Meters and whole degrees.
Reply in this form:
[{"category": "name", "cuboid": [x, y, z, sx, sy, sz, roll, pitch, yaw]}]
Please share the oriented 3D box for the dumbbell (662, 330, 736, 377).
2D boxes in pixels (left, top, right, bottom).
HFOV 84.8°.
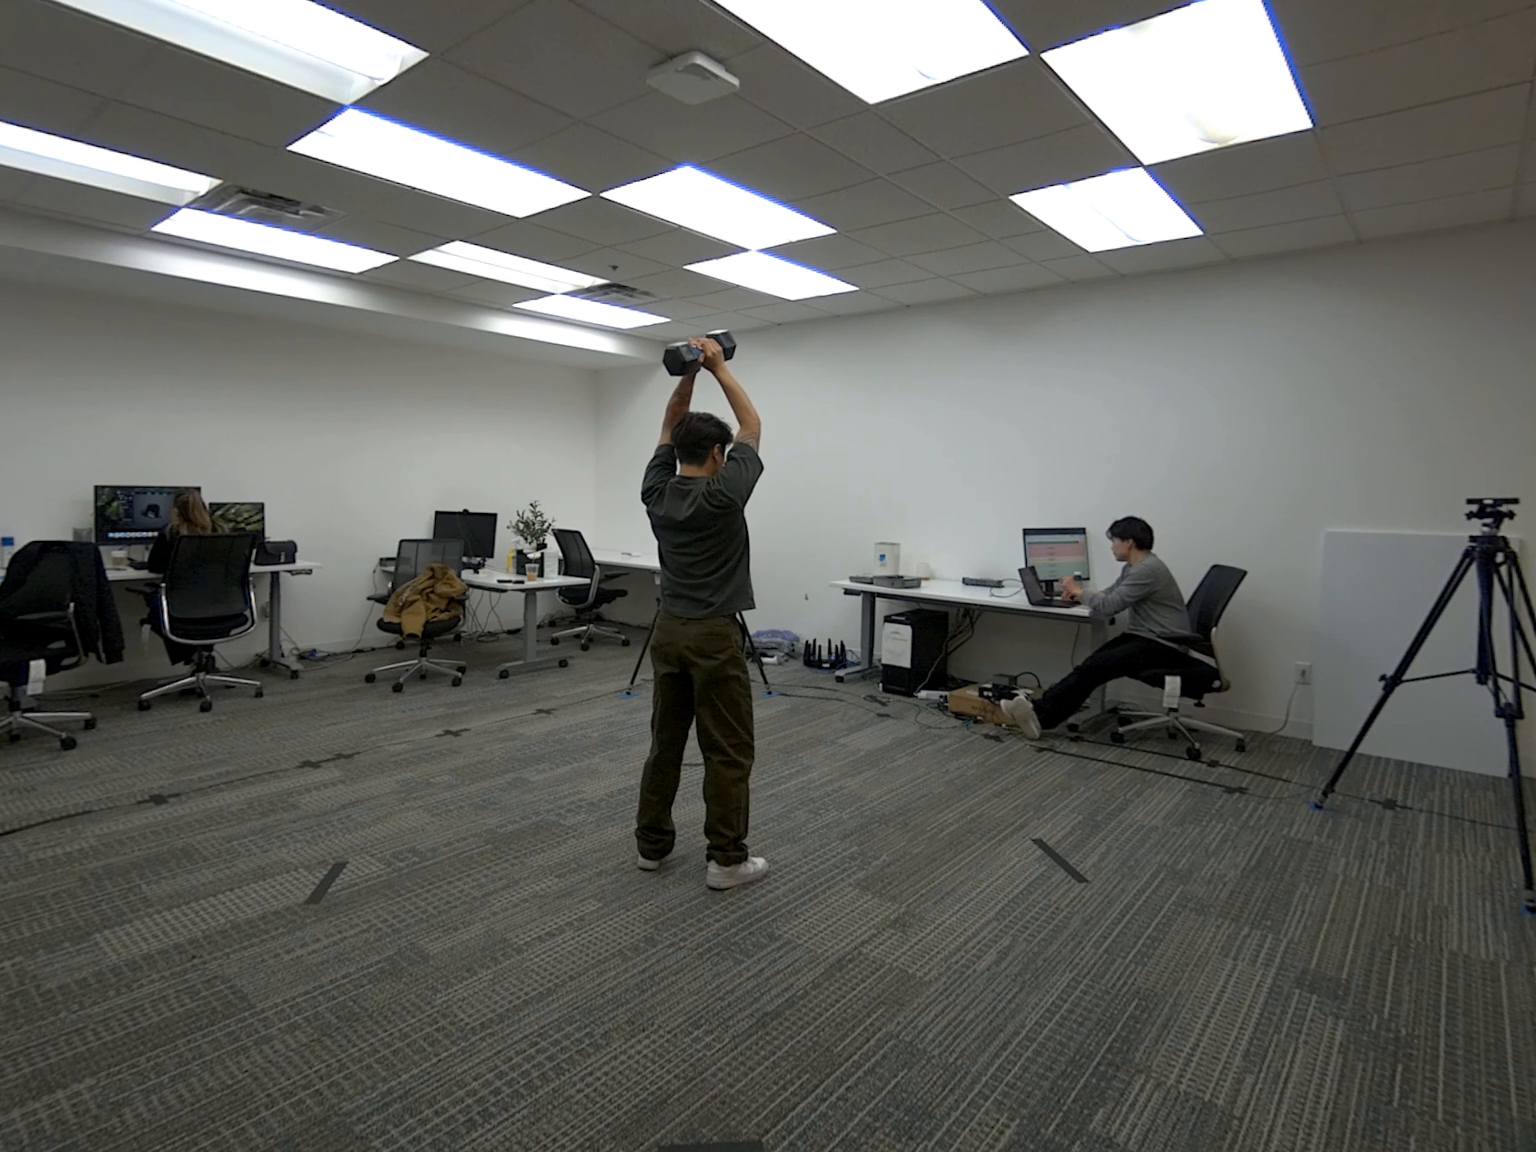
[{"category": "dumbbell", "cuboid": [-0.252, -0.810, 3.070, 0.290, 0.123, 0.110, -32, 1, -43]}]
